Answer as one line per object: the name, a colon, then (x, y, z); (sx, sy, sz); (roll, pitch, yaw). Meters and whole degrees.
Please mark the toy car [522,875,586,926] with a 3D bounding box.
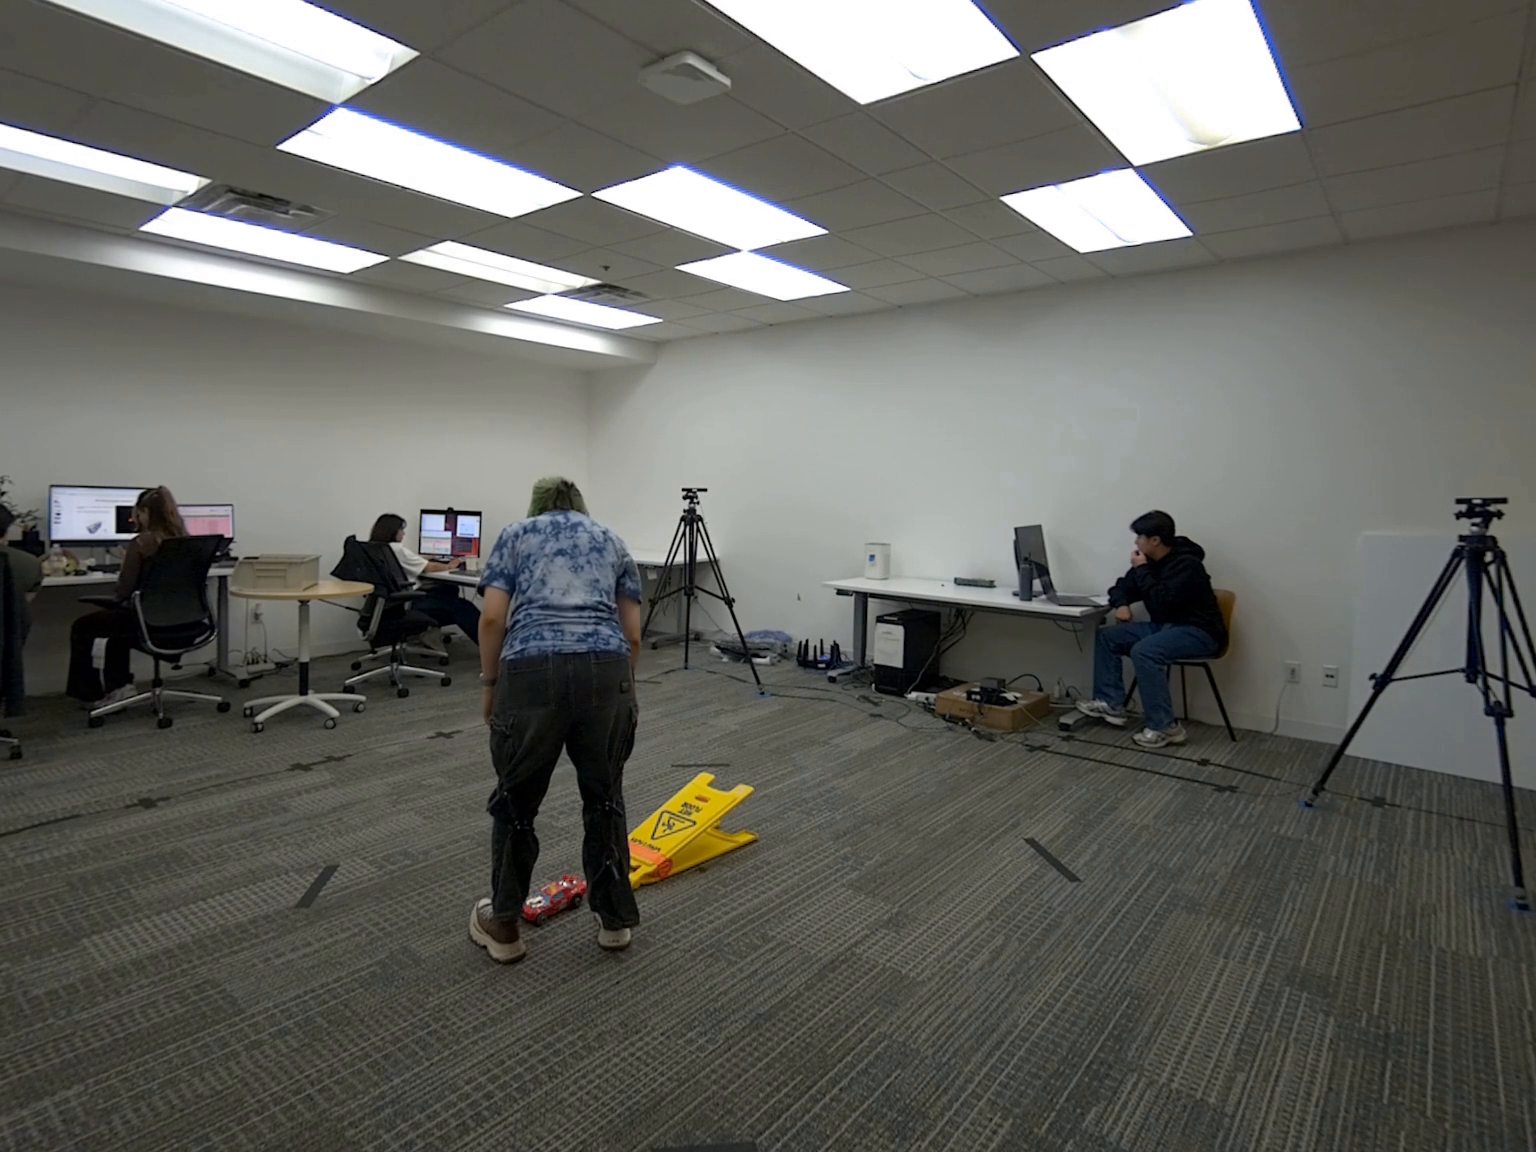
toy car: (-0.716, 1.062, 2.793); (0.134, 0.082, 0.250); (4, 18, 37)
